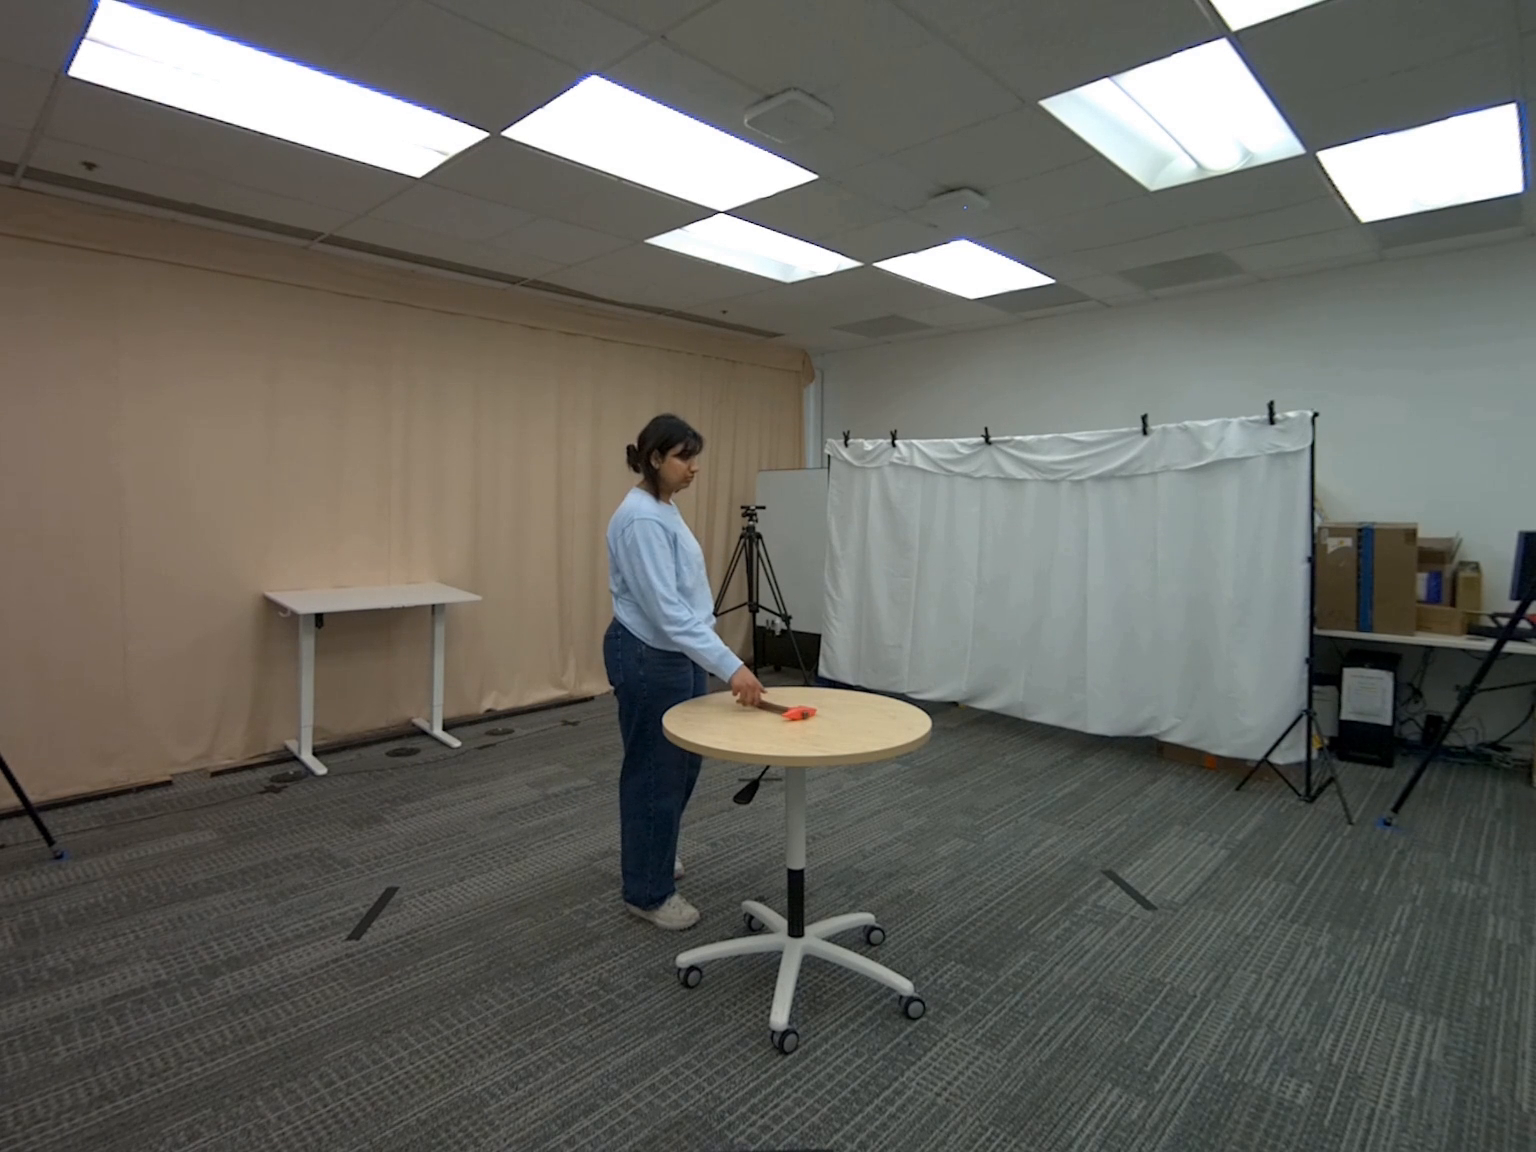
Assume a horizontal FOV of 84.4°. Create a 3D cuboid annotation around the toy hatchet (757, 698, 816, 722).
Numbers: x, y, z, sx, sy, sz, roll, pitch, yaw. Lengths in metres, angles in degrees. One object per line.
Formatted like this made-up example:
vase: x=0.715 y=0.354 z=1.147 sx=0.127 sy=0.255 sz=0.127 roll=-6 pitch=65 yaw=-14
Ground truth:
toy hatchet: x=0.045 y=0.388 z=2.501 sx=0.128 sy=0.029 sz=0.276 roll=-2 pitch=4 yaw=-22
